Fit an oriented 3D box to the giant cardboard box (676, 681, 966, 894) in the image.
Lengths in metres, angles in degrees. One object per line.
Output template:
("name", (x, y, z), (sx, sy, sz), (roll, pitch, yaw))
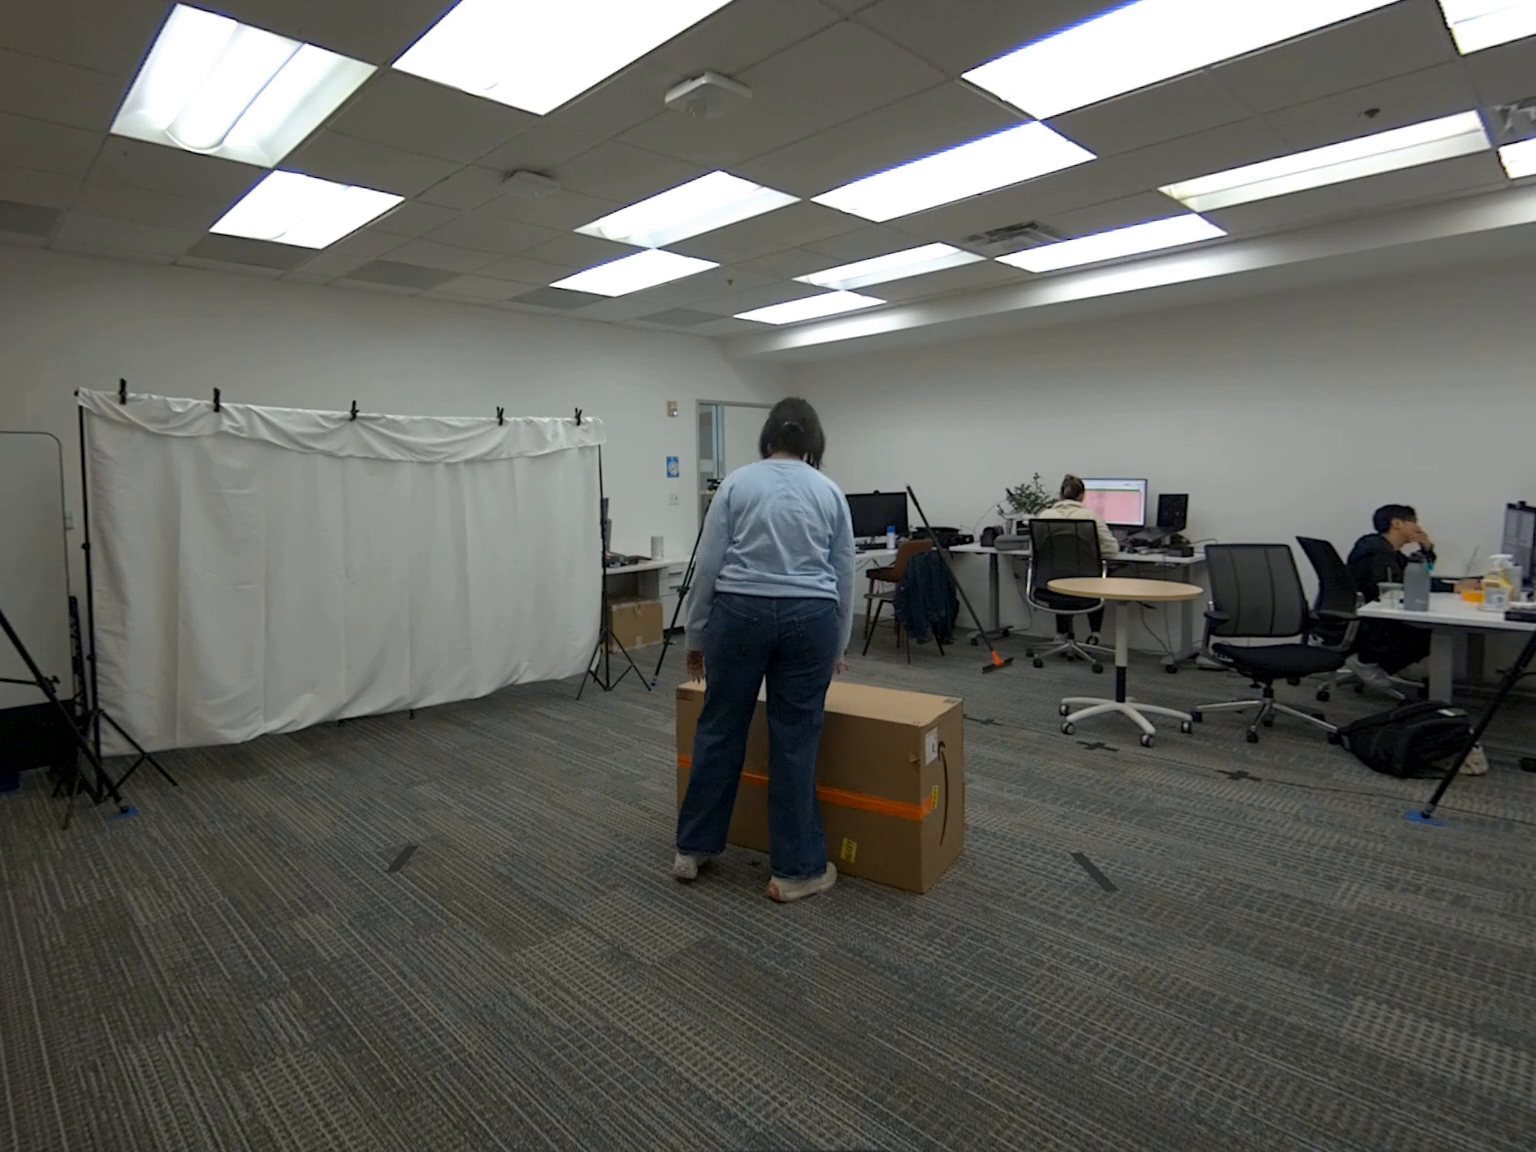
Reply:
("giant cardboard box", (0.186, 0.734, 3.290), (1.056, 0.582, 0.436), (3, 5, 33))
